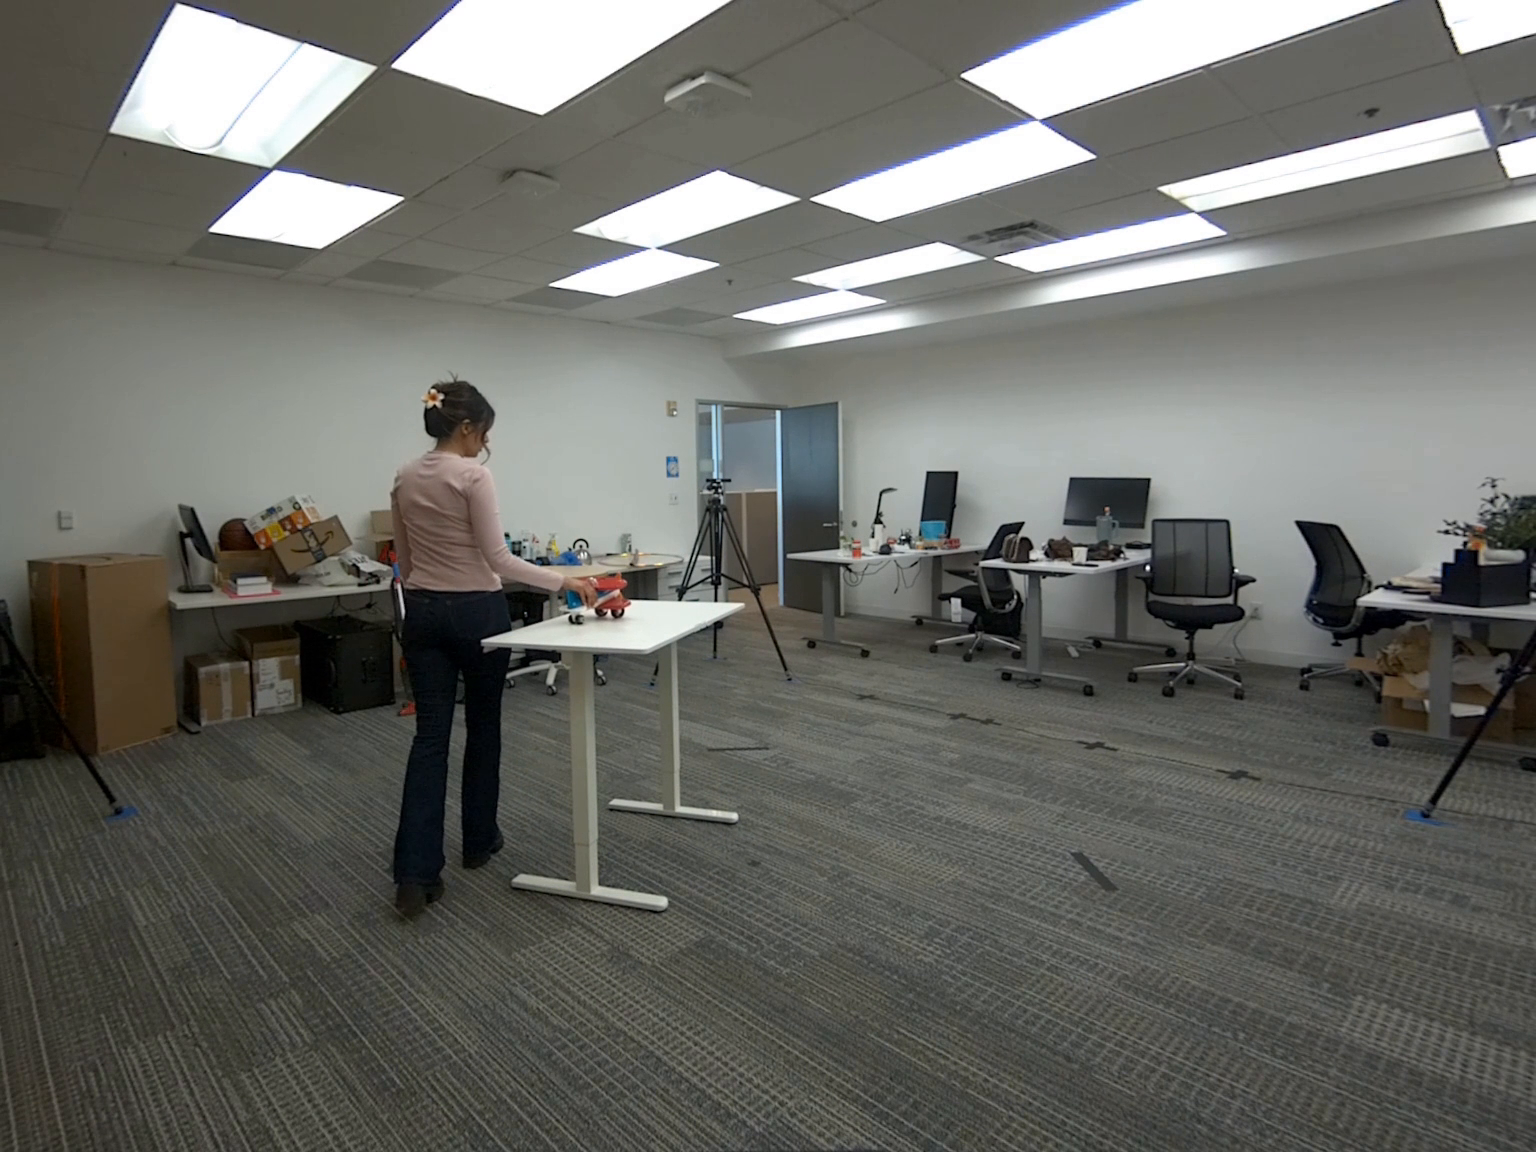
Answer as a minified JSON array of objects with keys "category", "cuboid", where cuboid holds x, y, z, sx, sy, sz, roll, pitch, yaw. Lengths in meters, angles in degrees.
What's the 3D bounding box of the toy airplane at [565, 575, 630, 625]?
[{"category":"toy airplane","cuboid":[-0.634,0.091,3.179,0.252,0.156,0.259,-2,5,5]}]
